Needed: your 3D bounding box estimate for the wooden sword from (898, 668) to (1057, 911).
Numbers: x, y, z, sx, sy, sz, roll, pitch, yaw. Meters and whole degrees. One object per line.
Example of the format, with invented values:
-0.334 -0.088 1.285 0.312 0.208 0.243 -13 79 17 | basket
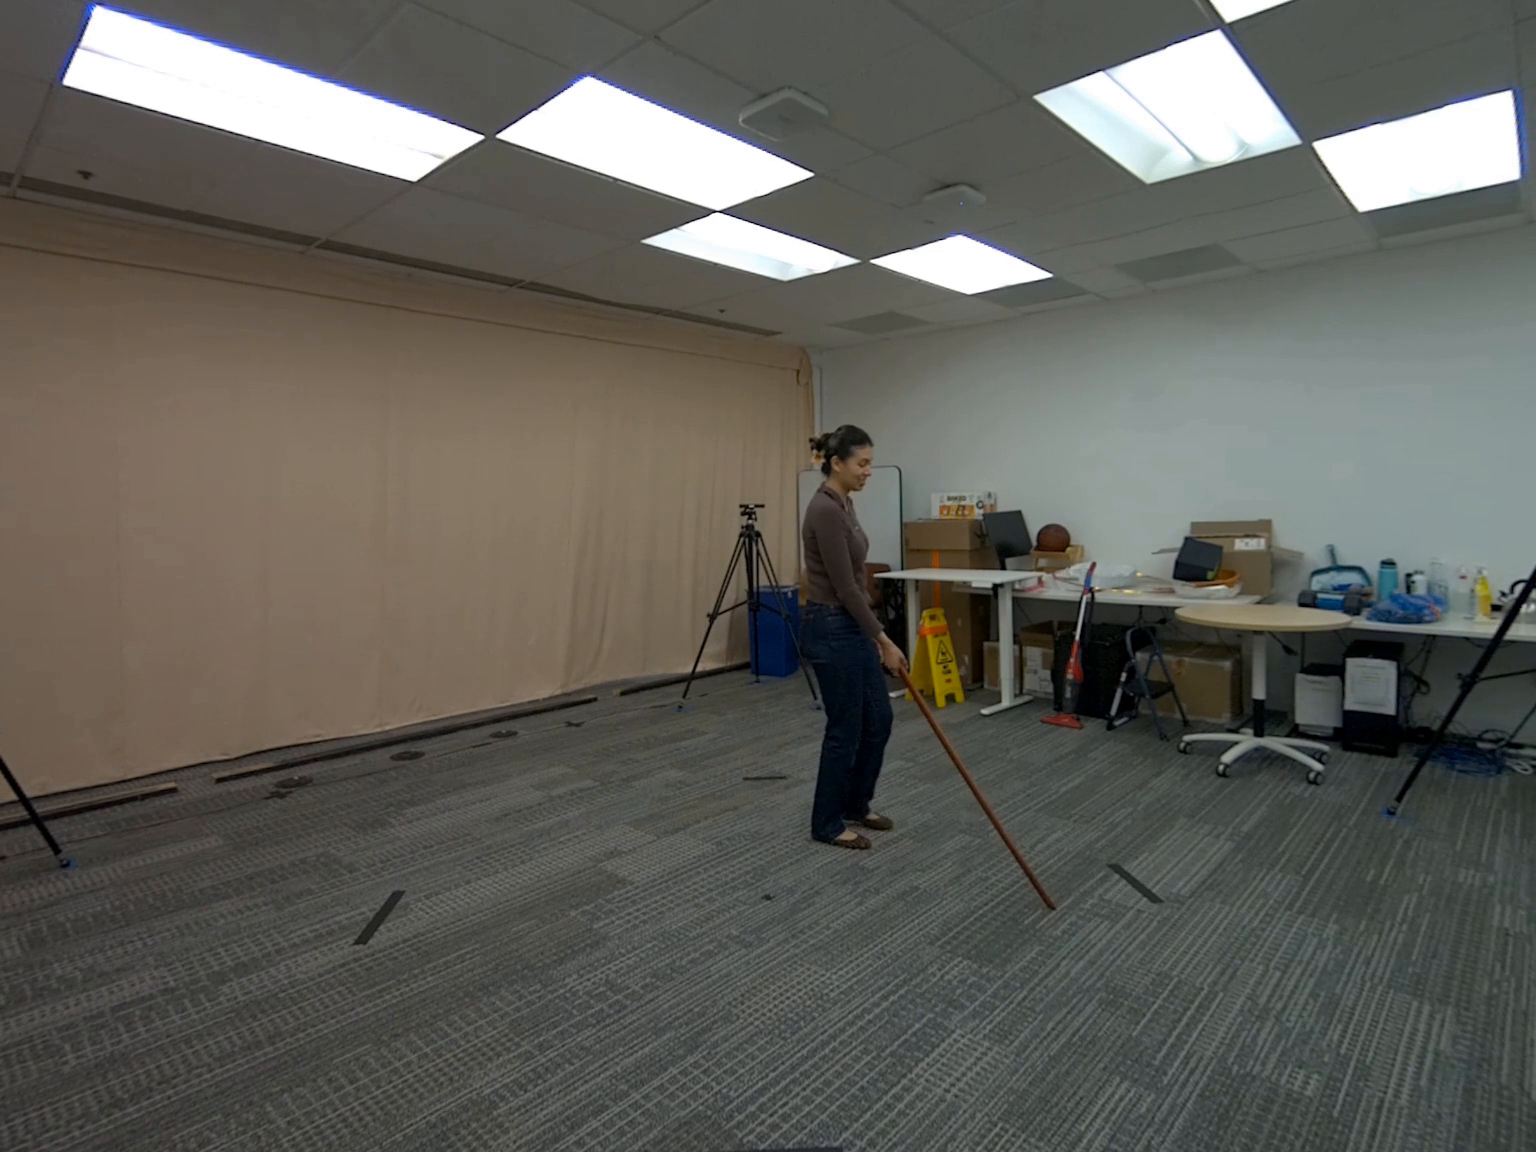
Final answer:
0.739 0.733 3.065 0.024 1.049 0.050 -40 -24 17 | wooden sword
